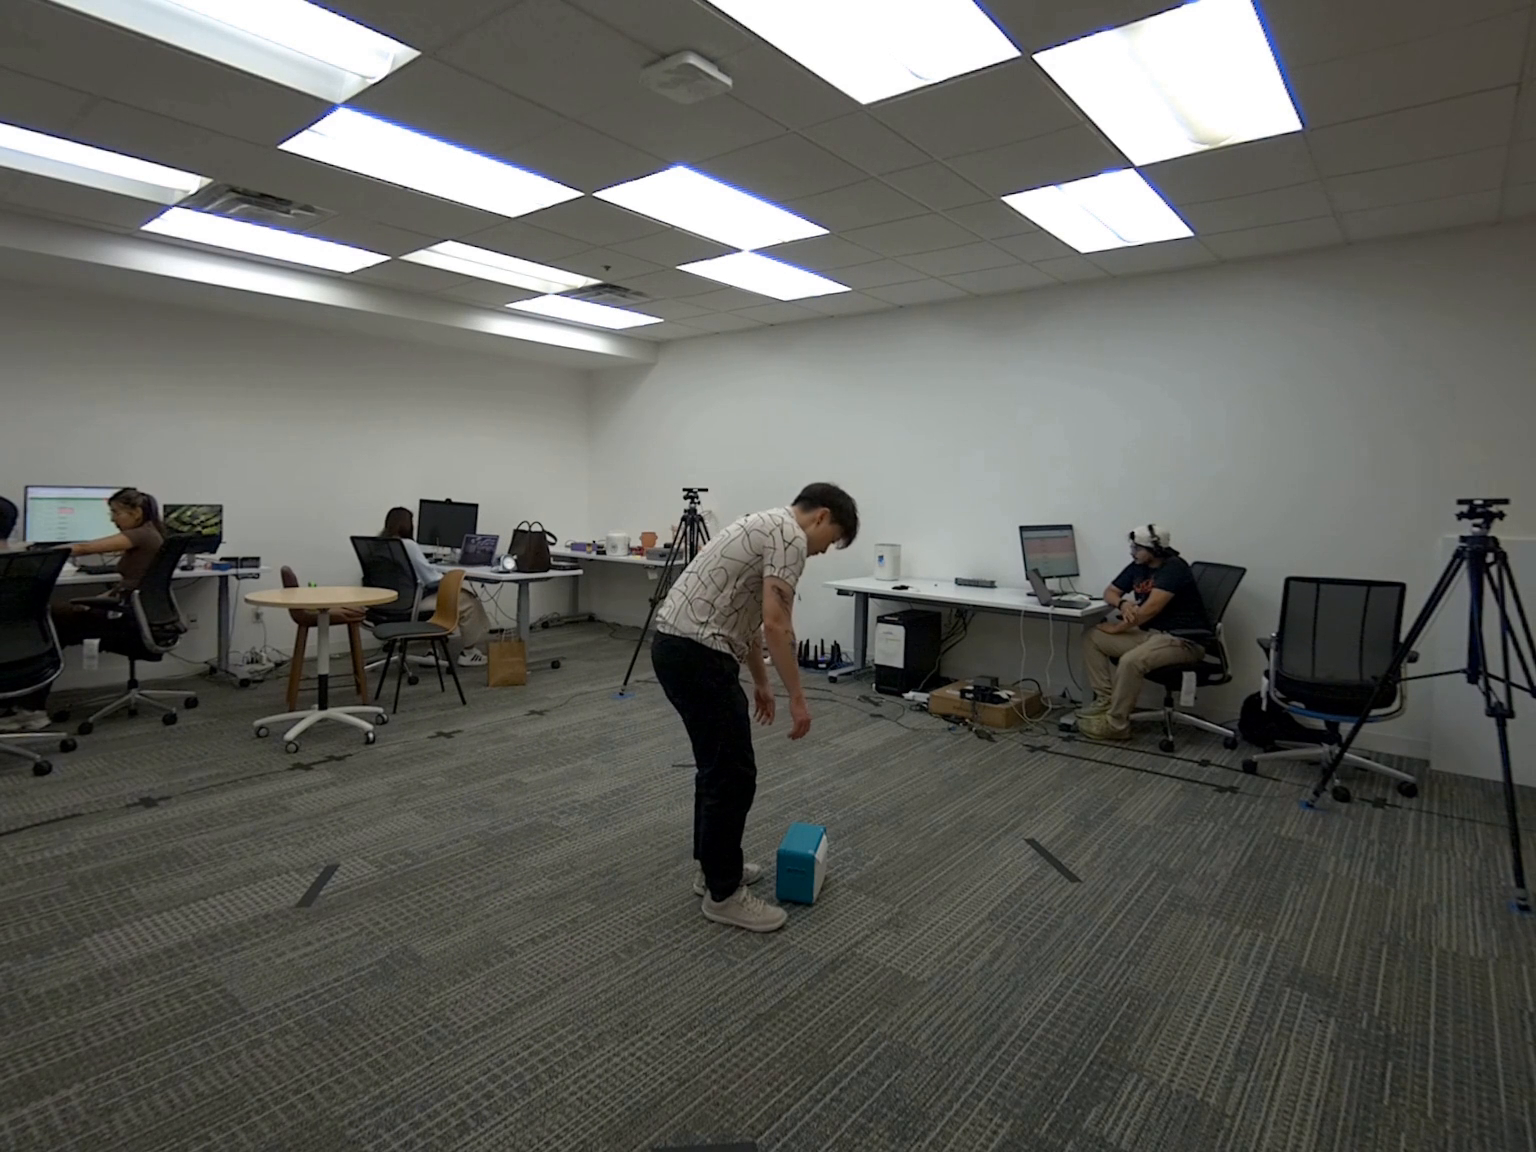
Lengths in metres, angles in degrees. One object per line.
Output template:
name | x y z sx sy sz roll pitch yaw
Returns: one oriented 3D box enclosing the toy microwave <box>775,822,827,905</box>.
toy microwave | 0.116 0.997 2.973 0.155 0.183 0.282 3 5 14
